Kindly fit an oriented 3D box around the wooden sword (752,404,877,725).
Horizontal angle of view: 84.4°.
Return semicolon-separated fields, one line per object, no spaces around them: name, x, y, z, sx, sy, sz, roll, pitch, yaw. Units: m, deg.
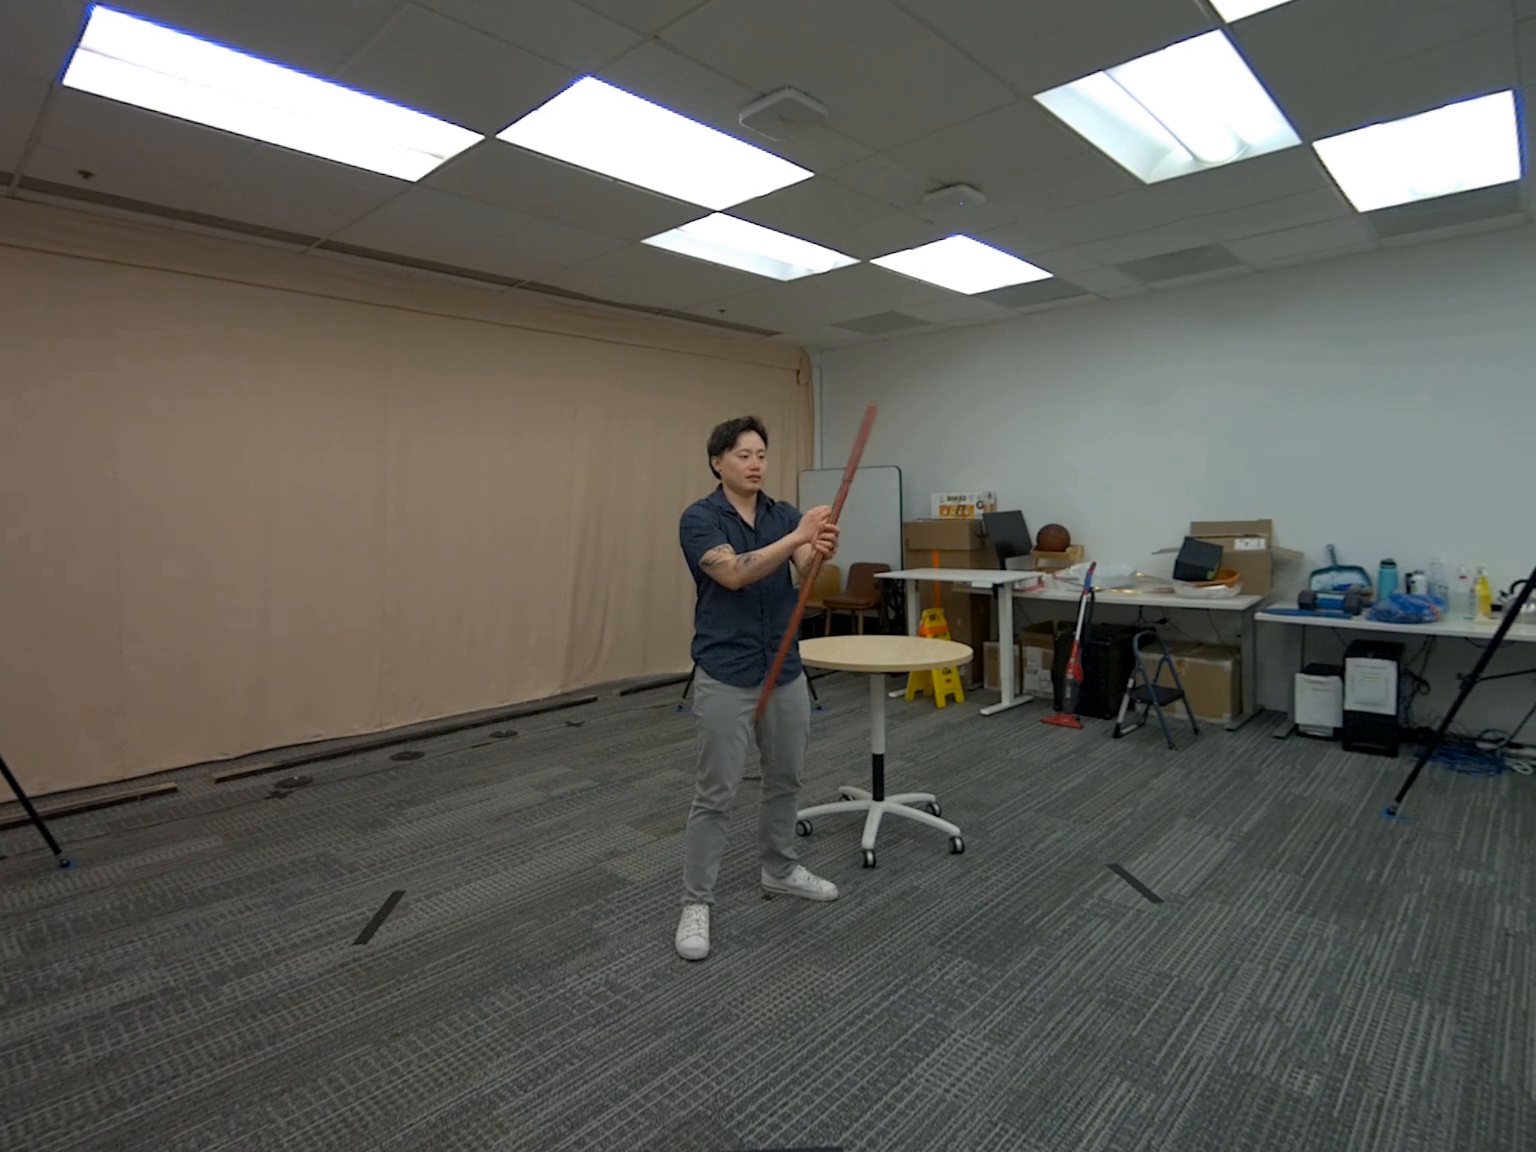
wooden sword;0.154;-0.068;2.454;0.023;1.026;0.052;27;-10;-22
